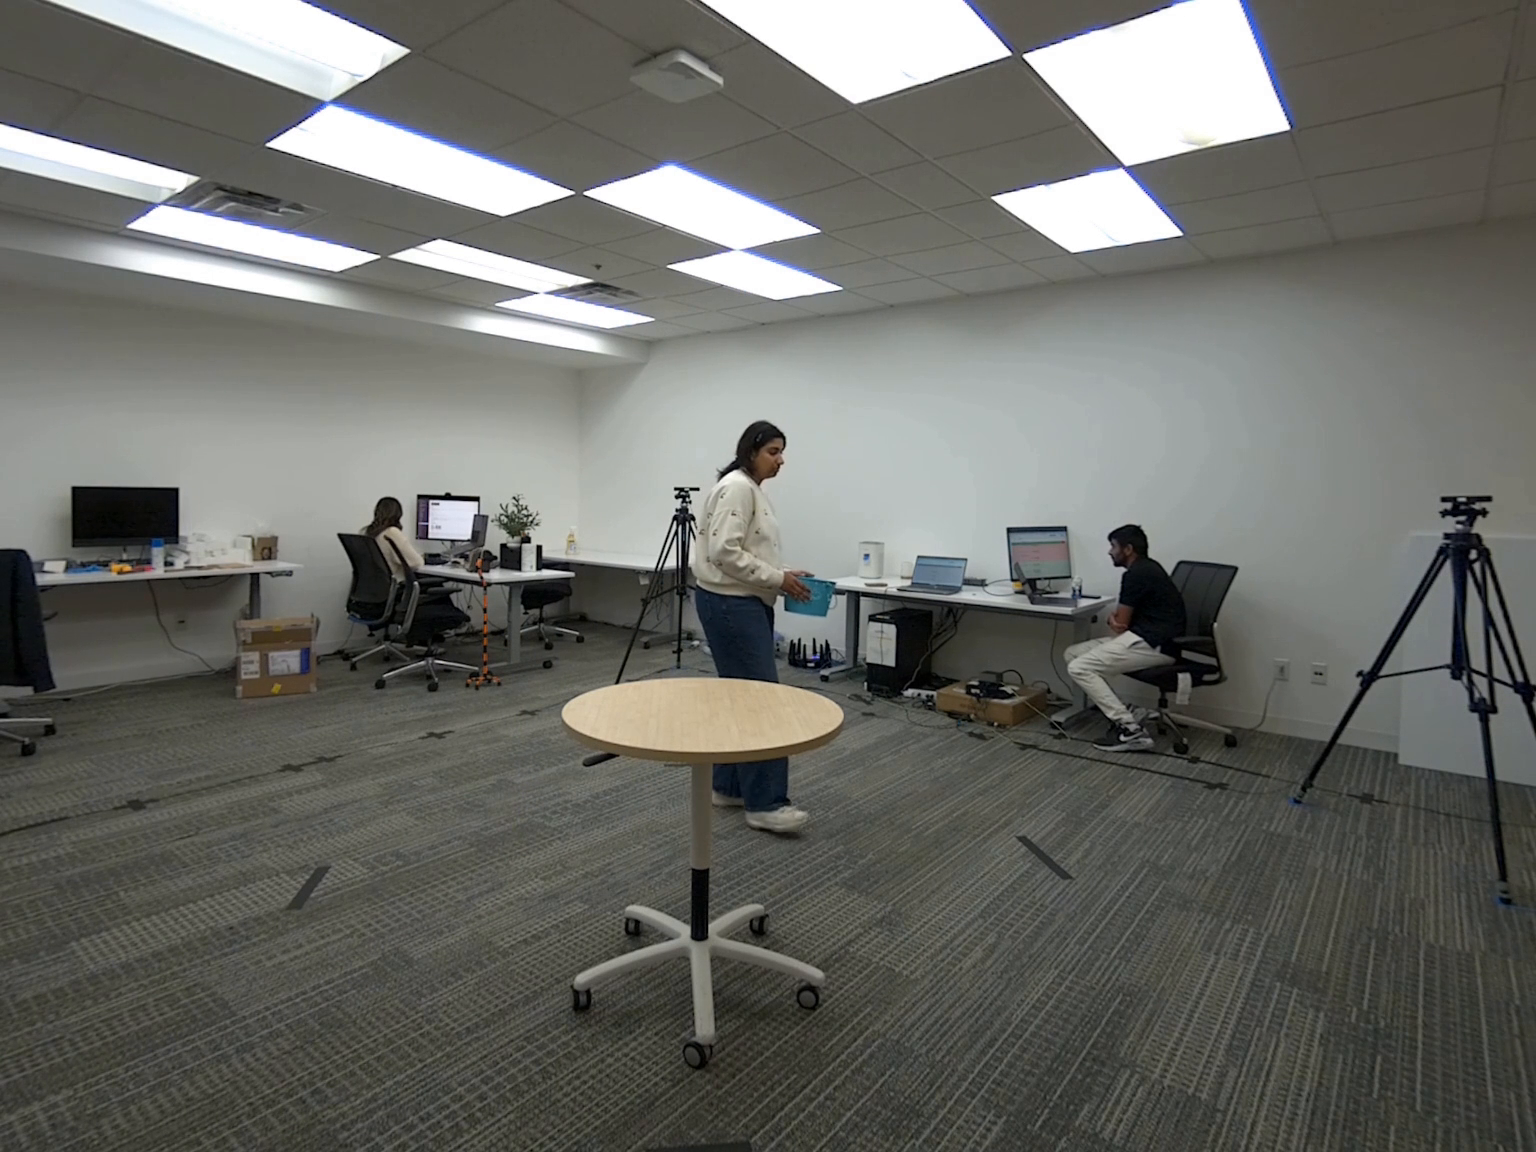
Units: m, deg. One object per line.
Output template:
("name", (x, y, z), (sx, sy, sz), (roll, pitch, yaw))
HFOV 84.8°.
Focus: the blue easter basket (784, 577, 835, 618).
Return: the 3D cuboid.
("blue easter basket", (0.166, 0.081, 3.613), (0.243, 0.156, 0.244), (7, 2, -2))
